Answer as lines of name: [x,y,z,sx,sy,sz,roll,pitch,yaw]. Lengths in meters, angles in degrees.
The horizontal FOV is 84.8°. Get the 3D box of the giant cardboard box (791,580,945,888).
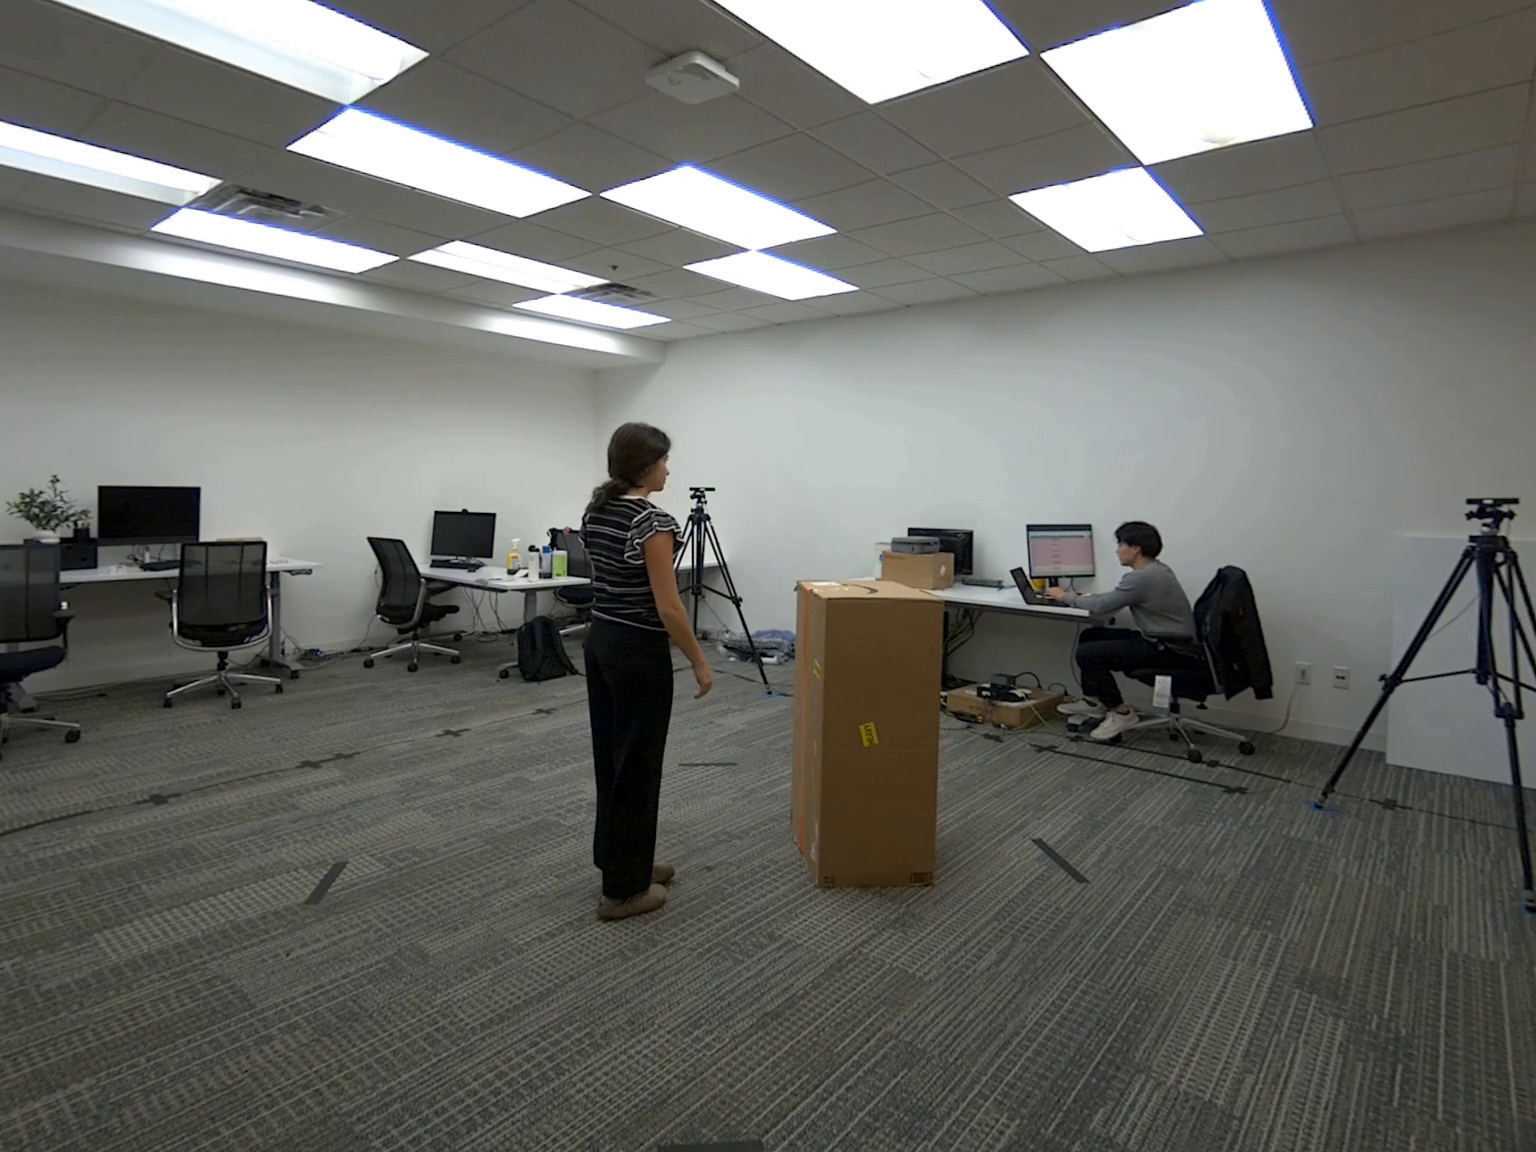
giant cardboard box: [0.346,0.555,3.259,0.423,1.023,0.584,1,4,-8]
